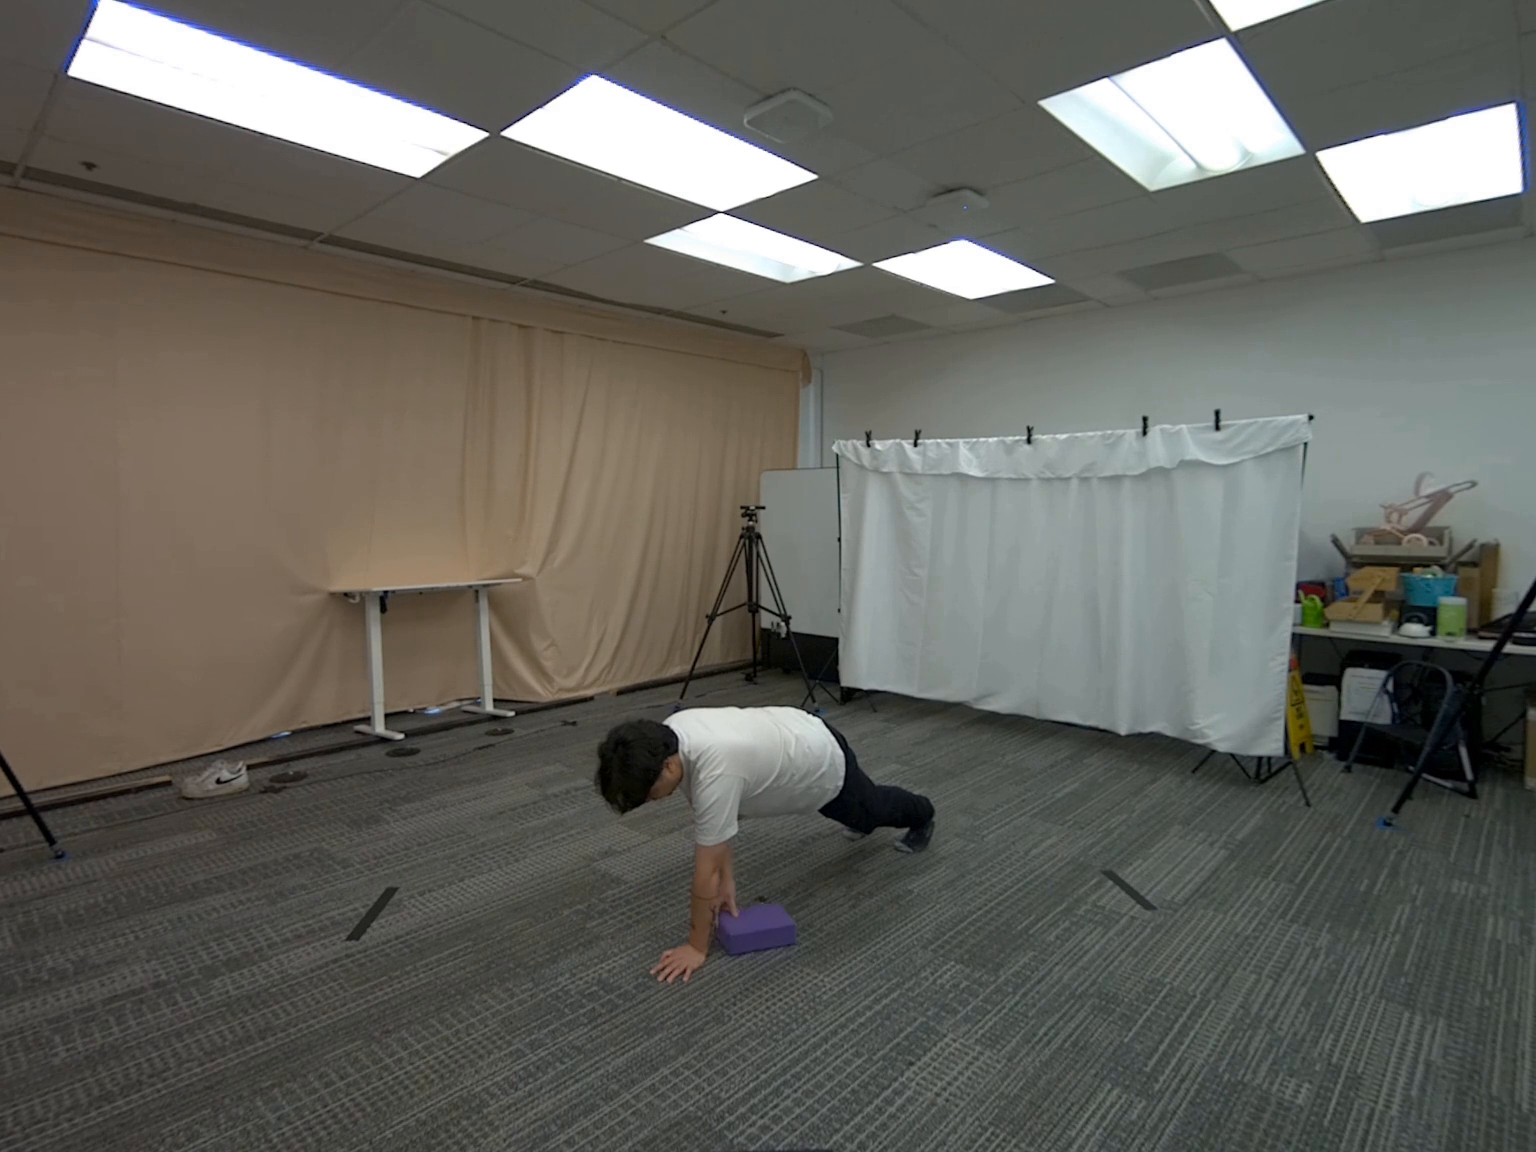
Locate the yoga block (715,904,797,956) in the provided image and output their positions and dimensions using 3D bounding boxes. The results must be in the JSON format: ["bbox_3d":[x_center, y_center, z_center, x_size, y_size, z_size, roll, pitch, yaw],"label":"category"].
[{"bbox_3d":[-0.032,1.129,2.692,0.225,0.076,0.152,-2,5,-20],"label":"yoga block"}]
